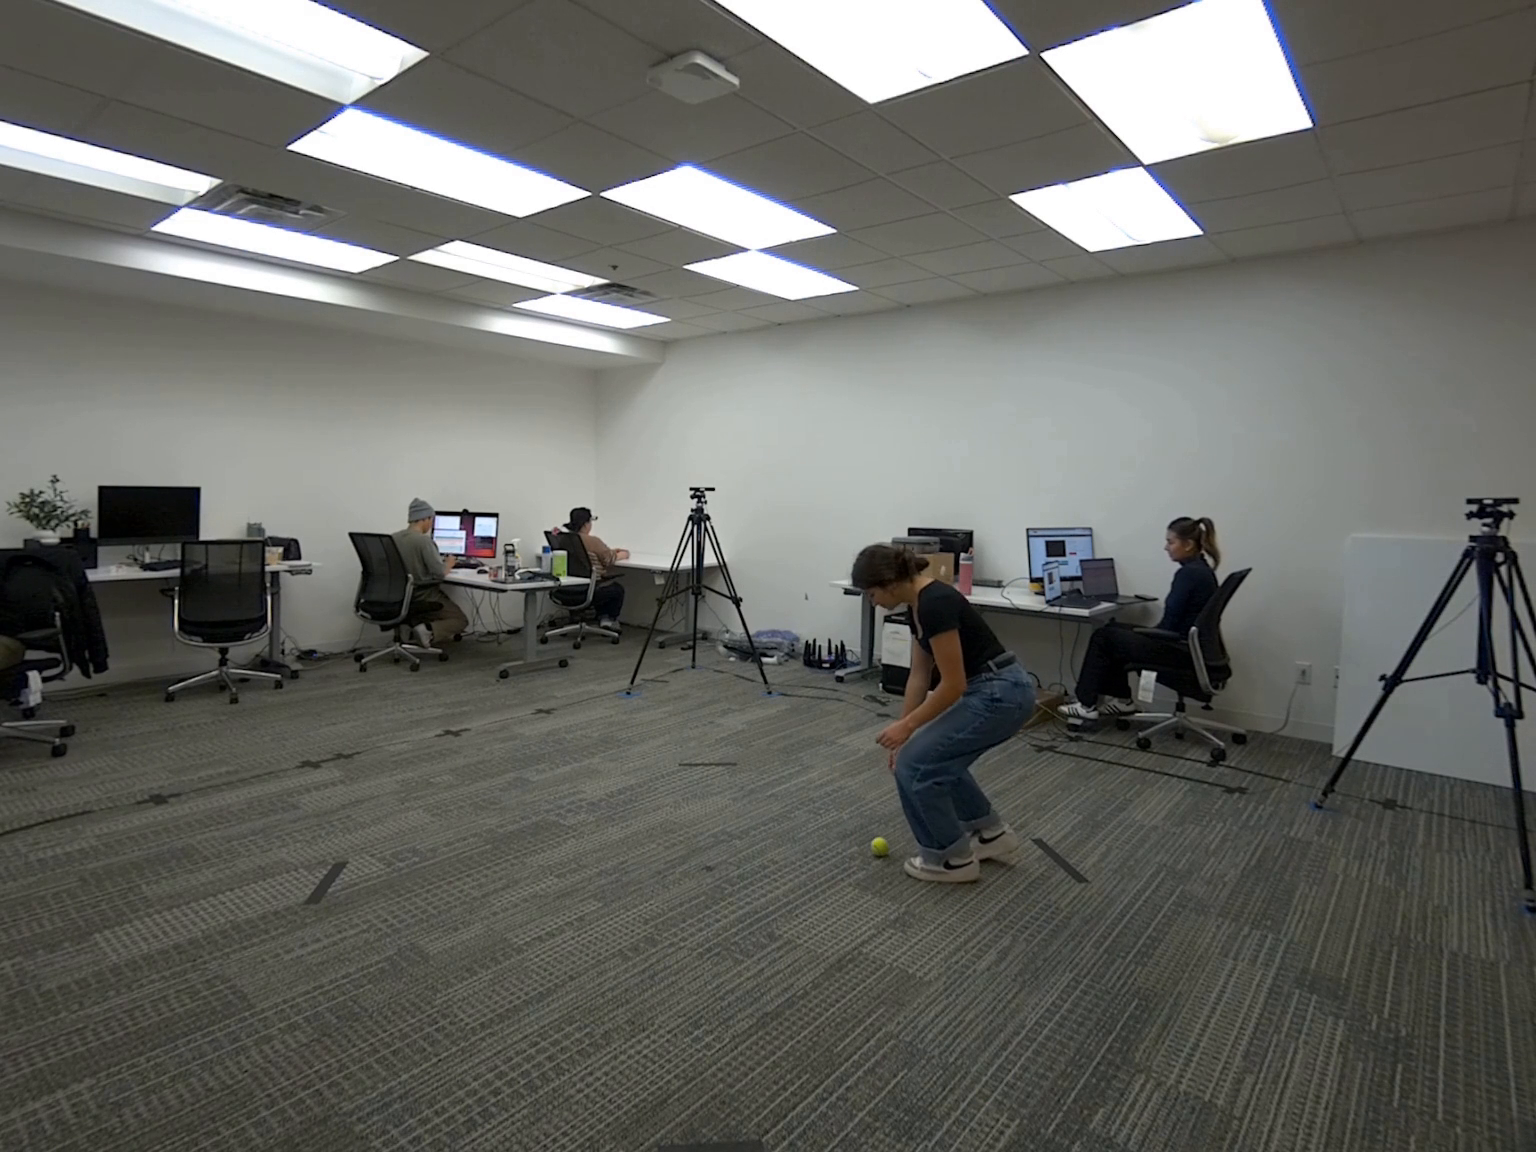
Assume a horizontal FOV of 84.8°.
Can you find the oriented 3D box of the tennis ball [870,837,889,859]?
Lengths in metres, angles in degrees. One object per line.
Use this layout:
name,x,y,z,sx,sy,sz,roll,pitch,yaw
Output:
tennis ball,0.419,1.015,3.257,0.066,0.066,0.067,1,4,-2
